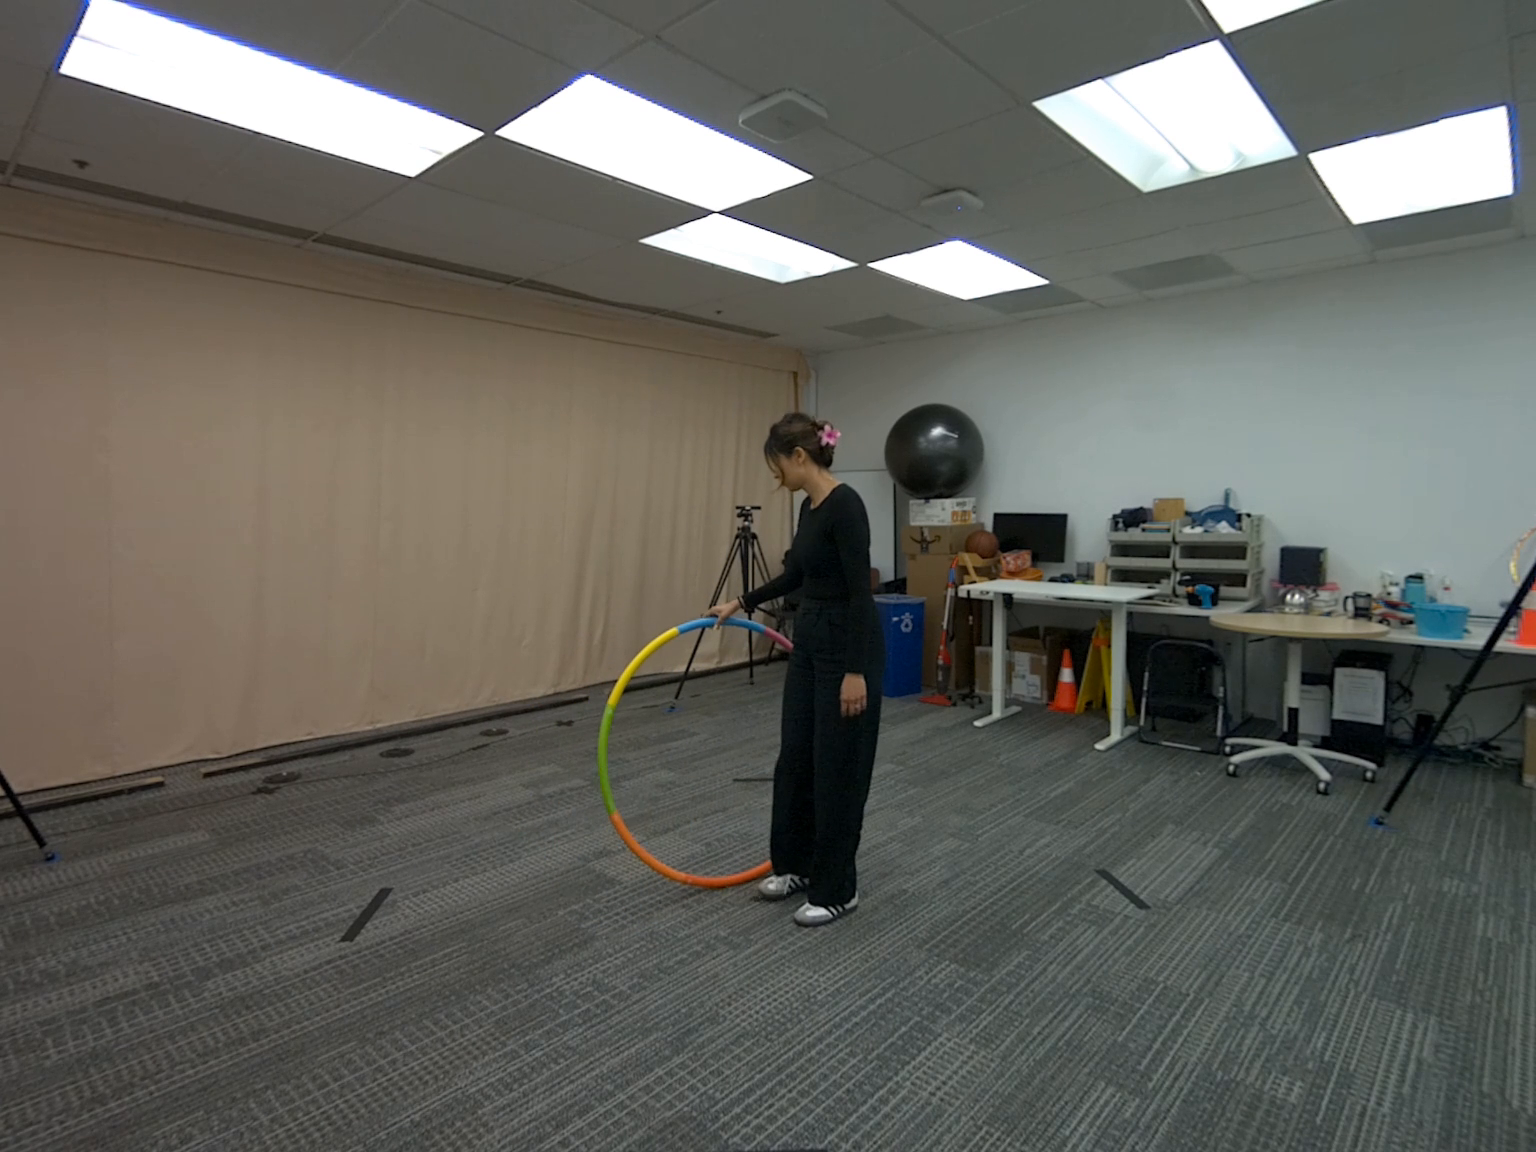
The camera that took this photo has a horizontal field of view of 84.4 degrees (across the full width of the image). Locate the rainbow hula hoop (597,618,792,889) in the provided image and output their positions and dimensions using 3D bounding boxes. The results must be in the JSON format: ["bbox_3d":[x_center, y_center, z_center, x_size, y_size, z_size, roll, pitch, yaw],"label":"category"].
[{"bbox_3d":[-0.160,0.651,3.140,0.954,0.982,0.036,-2,-6,-26],"label":"rainbow hula hoop"}]
